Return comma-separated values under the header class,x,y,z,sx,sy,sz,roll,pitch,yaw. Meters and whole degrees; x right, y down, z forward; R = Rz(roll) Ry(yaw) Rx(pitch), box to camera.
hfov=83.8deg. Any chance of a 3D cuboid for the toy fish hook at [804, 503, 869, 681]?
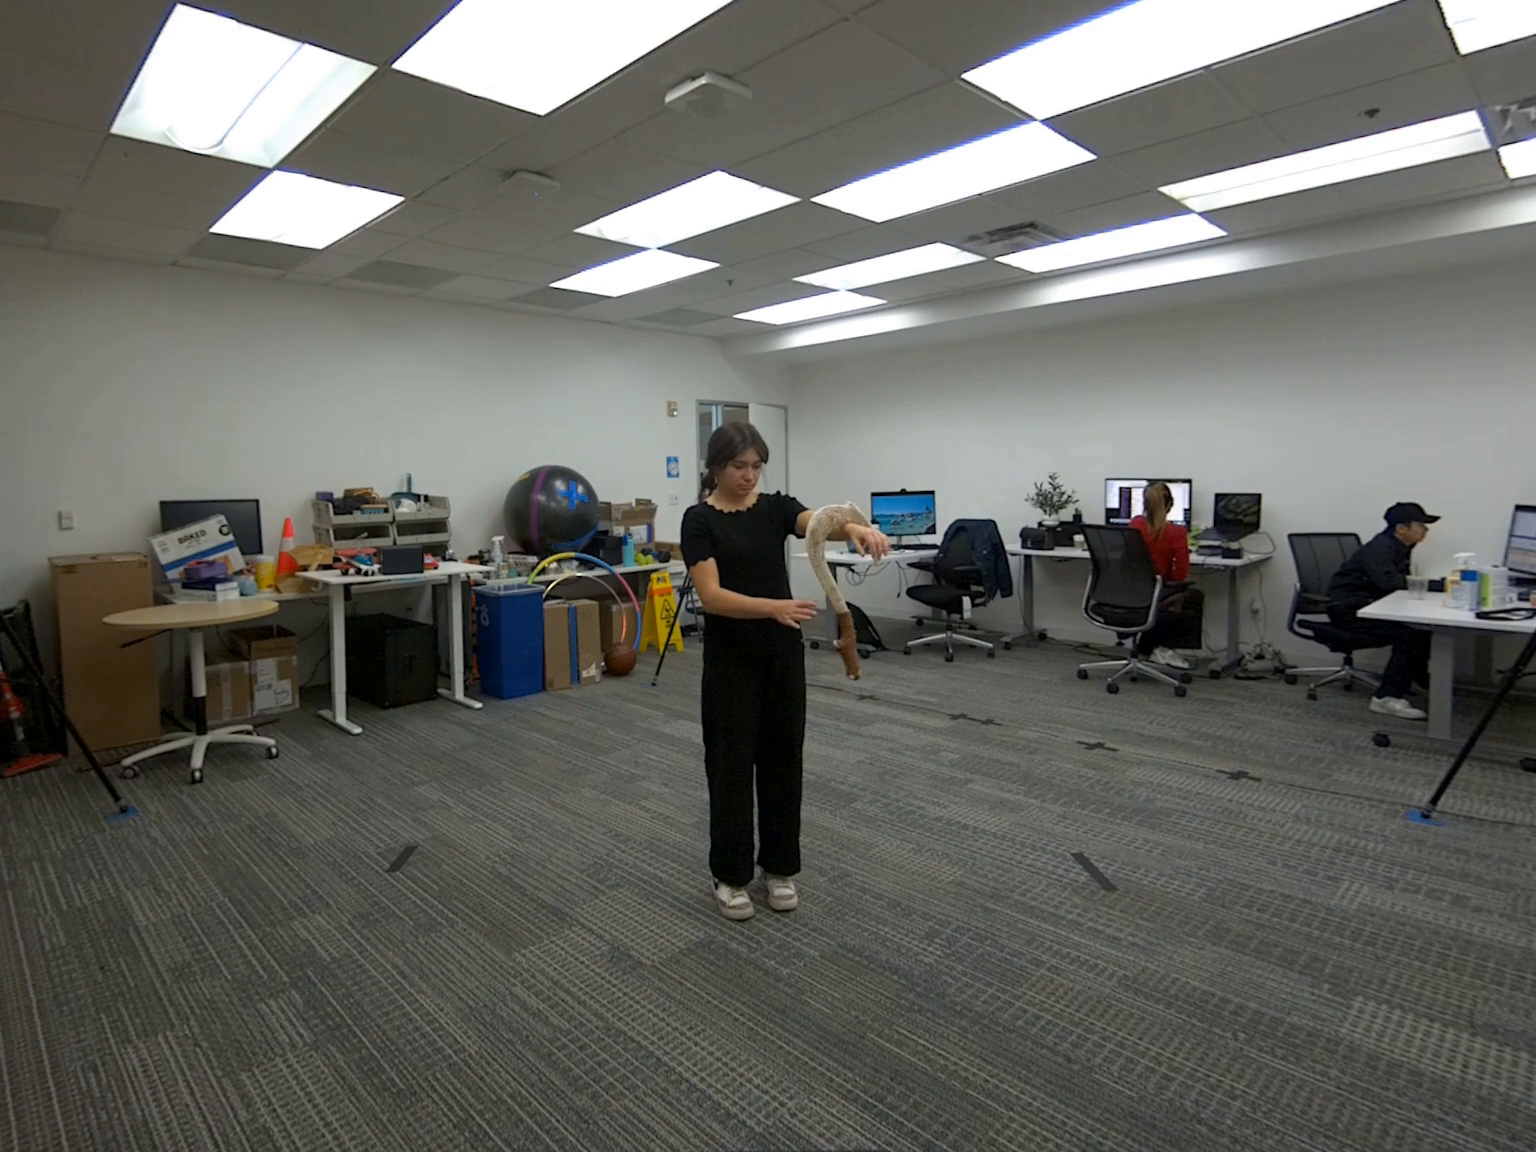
class,x,y,z,sx,sy,sz,roll,pitch,yaw
toy fish hook,0.249,0.042,2.474,0.223,0.507,0.048,-10,-2,-8
